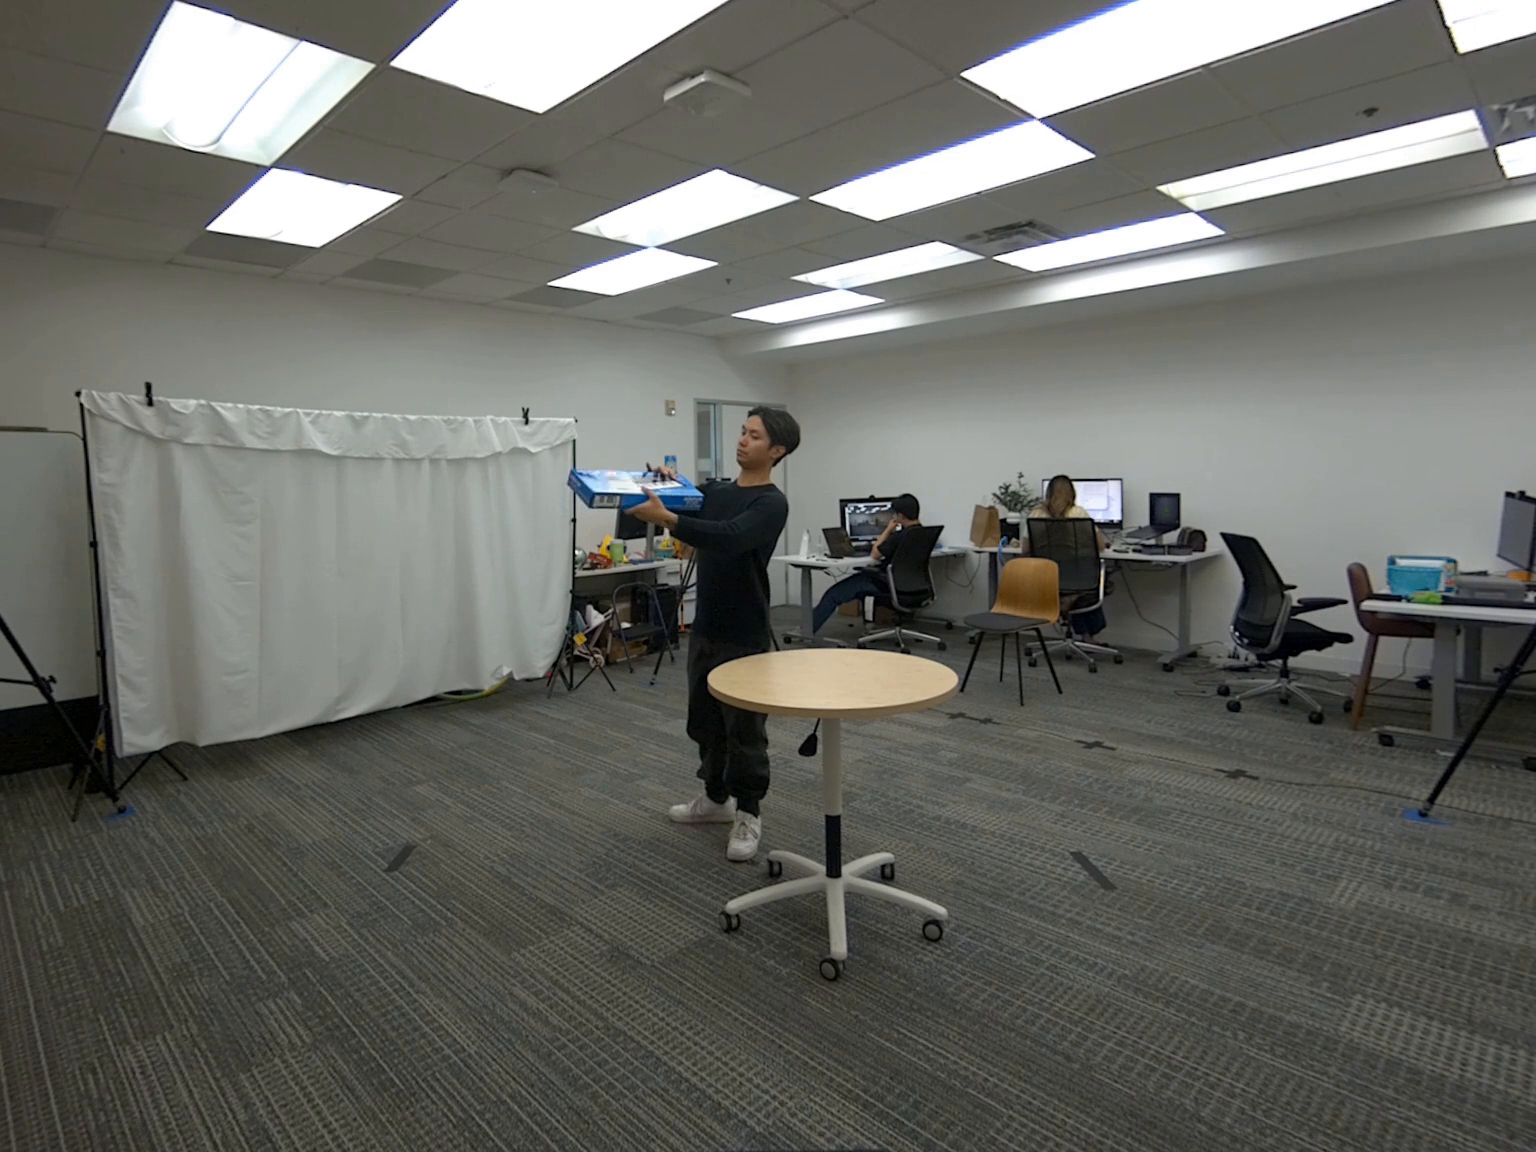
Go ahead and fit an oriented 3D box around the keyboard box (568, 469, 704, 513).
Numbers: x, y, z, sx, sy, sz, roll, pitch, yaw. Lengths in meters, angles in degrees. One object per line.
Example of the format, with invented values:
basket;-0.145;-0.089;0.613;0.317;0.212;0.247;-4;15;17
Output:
keyboard box;-0.441;-0.293;2.894;0.425;0.058;0.183;-2;32;-38
